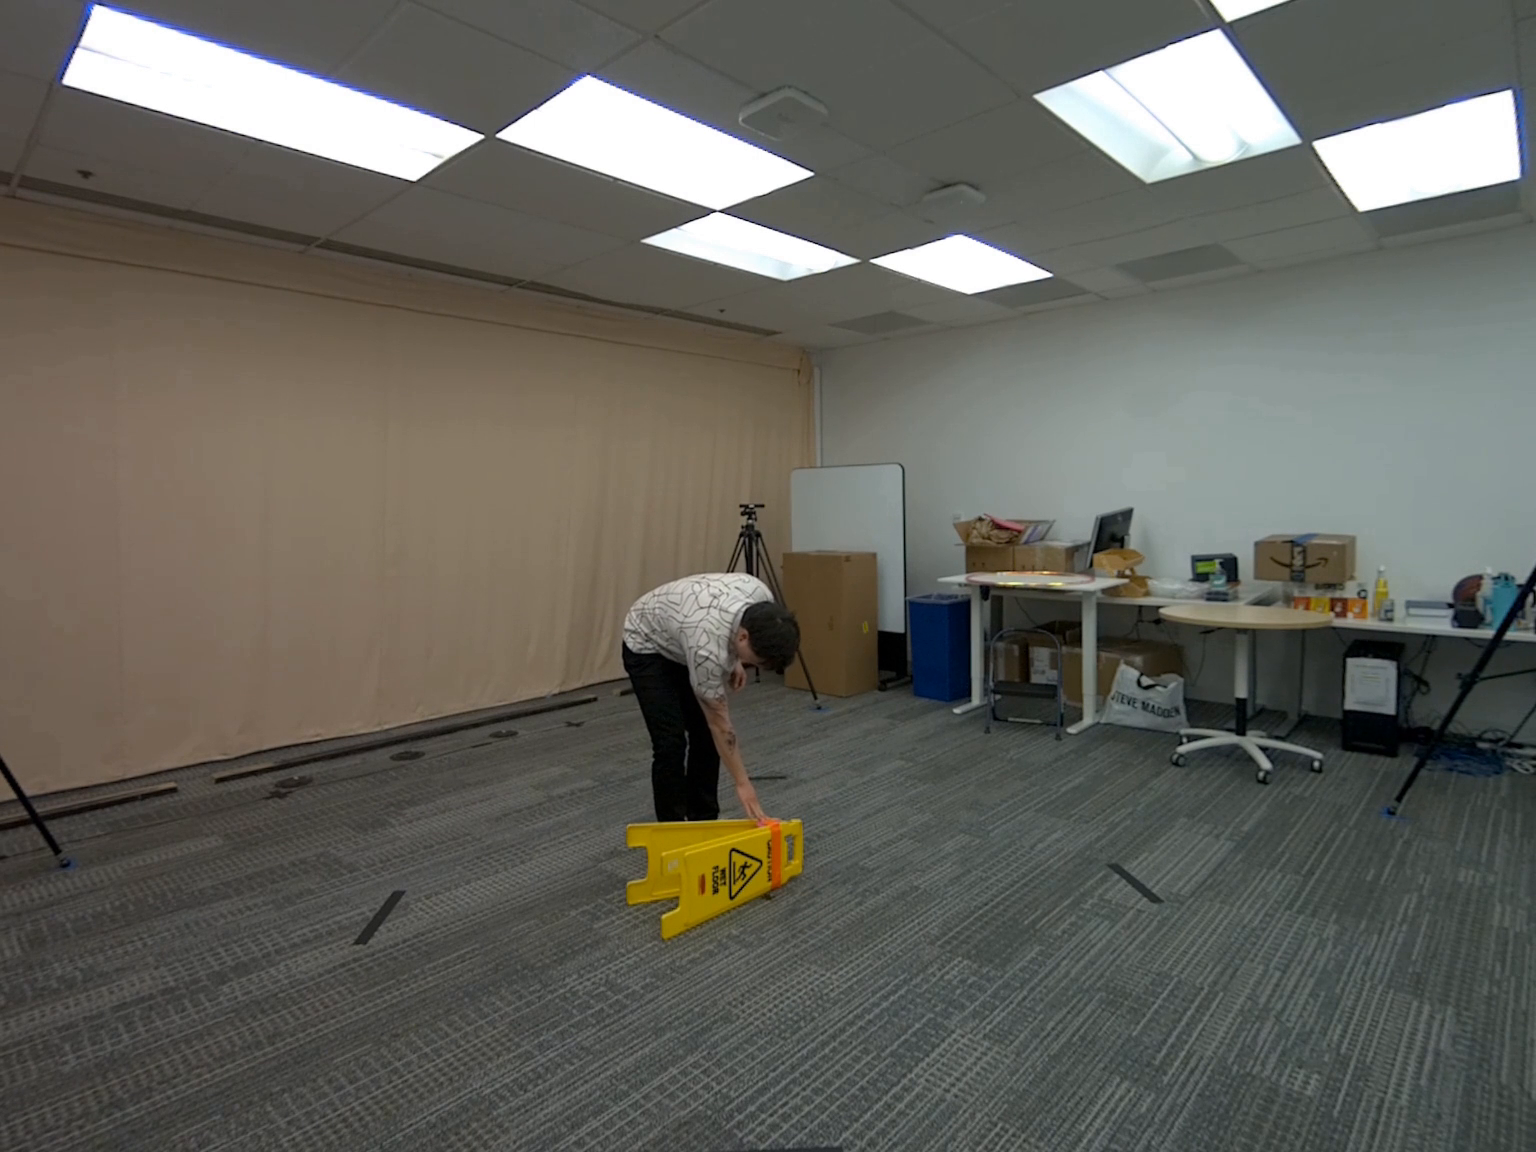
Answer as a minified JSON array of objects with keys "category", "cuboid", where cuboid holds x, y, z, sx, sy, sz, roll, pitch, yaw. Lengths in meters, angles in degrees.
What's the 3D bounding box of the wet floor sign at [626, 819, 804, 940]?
[{"category":"wet floor sign","cuboid":[-0.144,1.009,2.984,0.628,0.282,0.298,-1,3,-30]}]
